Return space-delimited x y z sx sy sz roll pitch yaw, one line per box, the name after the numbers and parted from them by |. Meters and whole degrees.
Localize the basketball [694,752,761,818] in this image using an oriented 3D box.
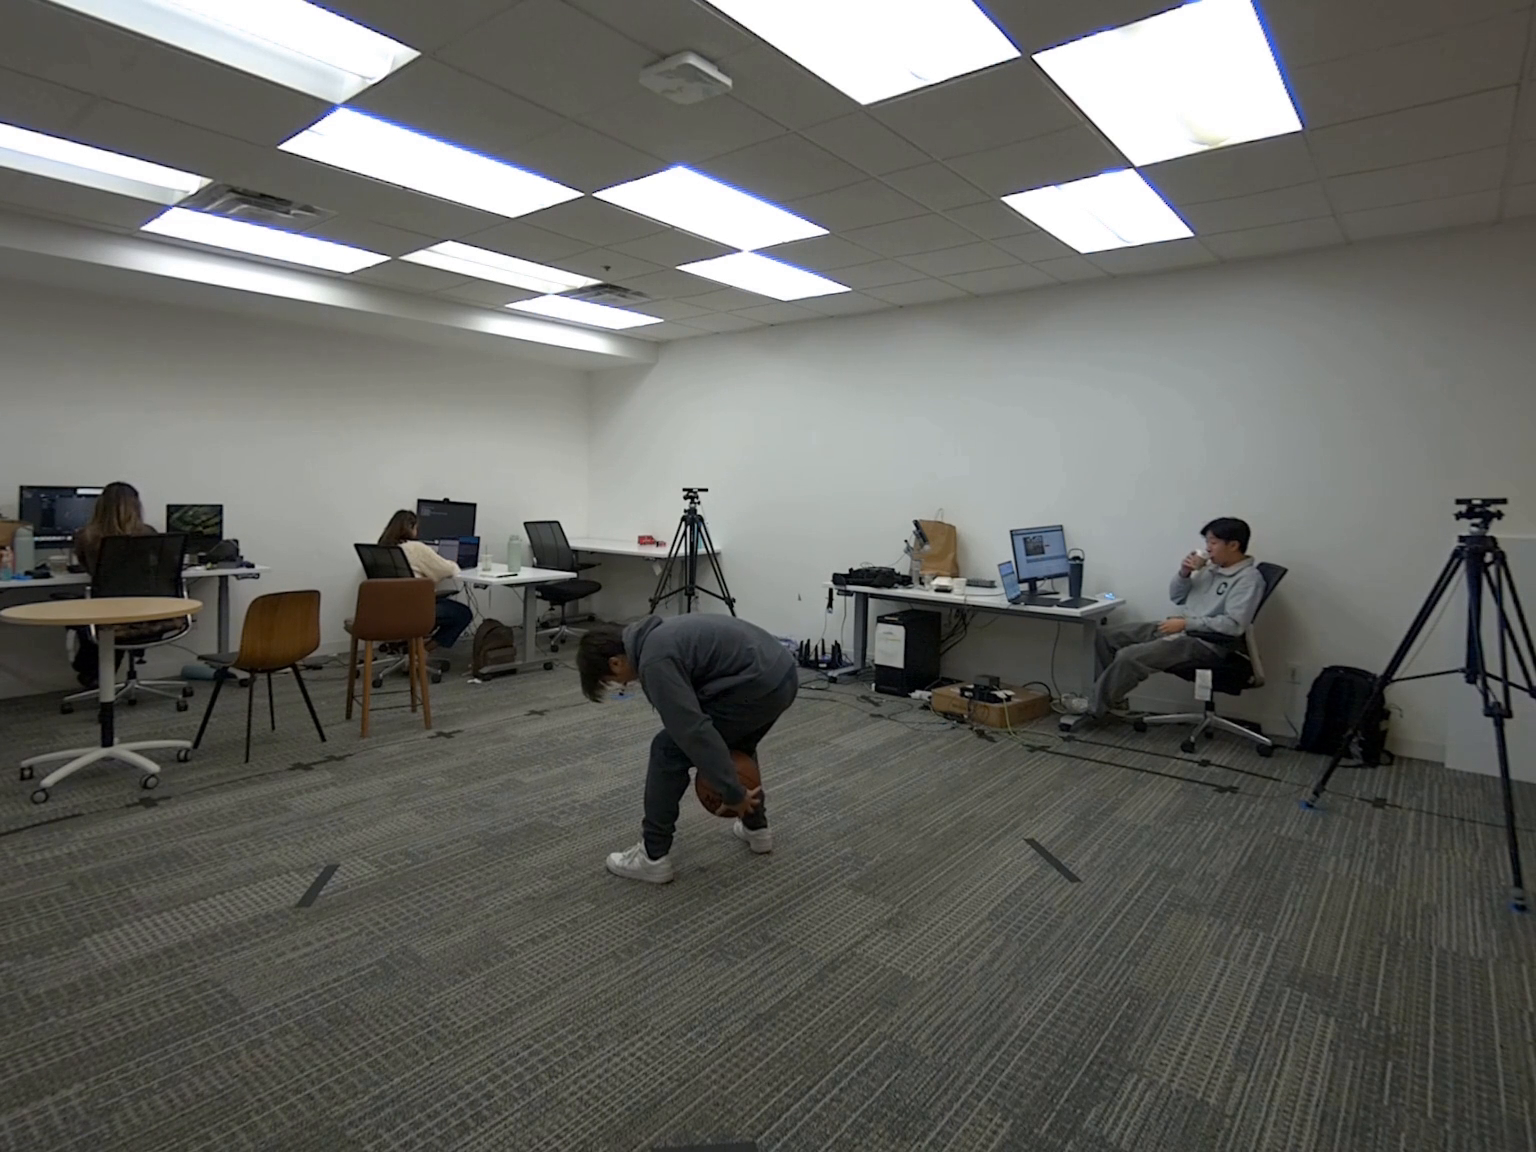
-0.159 0.742 3.071 0.235 0.235 0.237 1 4 -2 | basketball
